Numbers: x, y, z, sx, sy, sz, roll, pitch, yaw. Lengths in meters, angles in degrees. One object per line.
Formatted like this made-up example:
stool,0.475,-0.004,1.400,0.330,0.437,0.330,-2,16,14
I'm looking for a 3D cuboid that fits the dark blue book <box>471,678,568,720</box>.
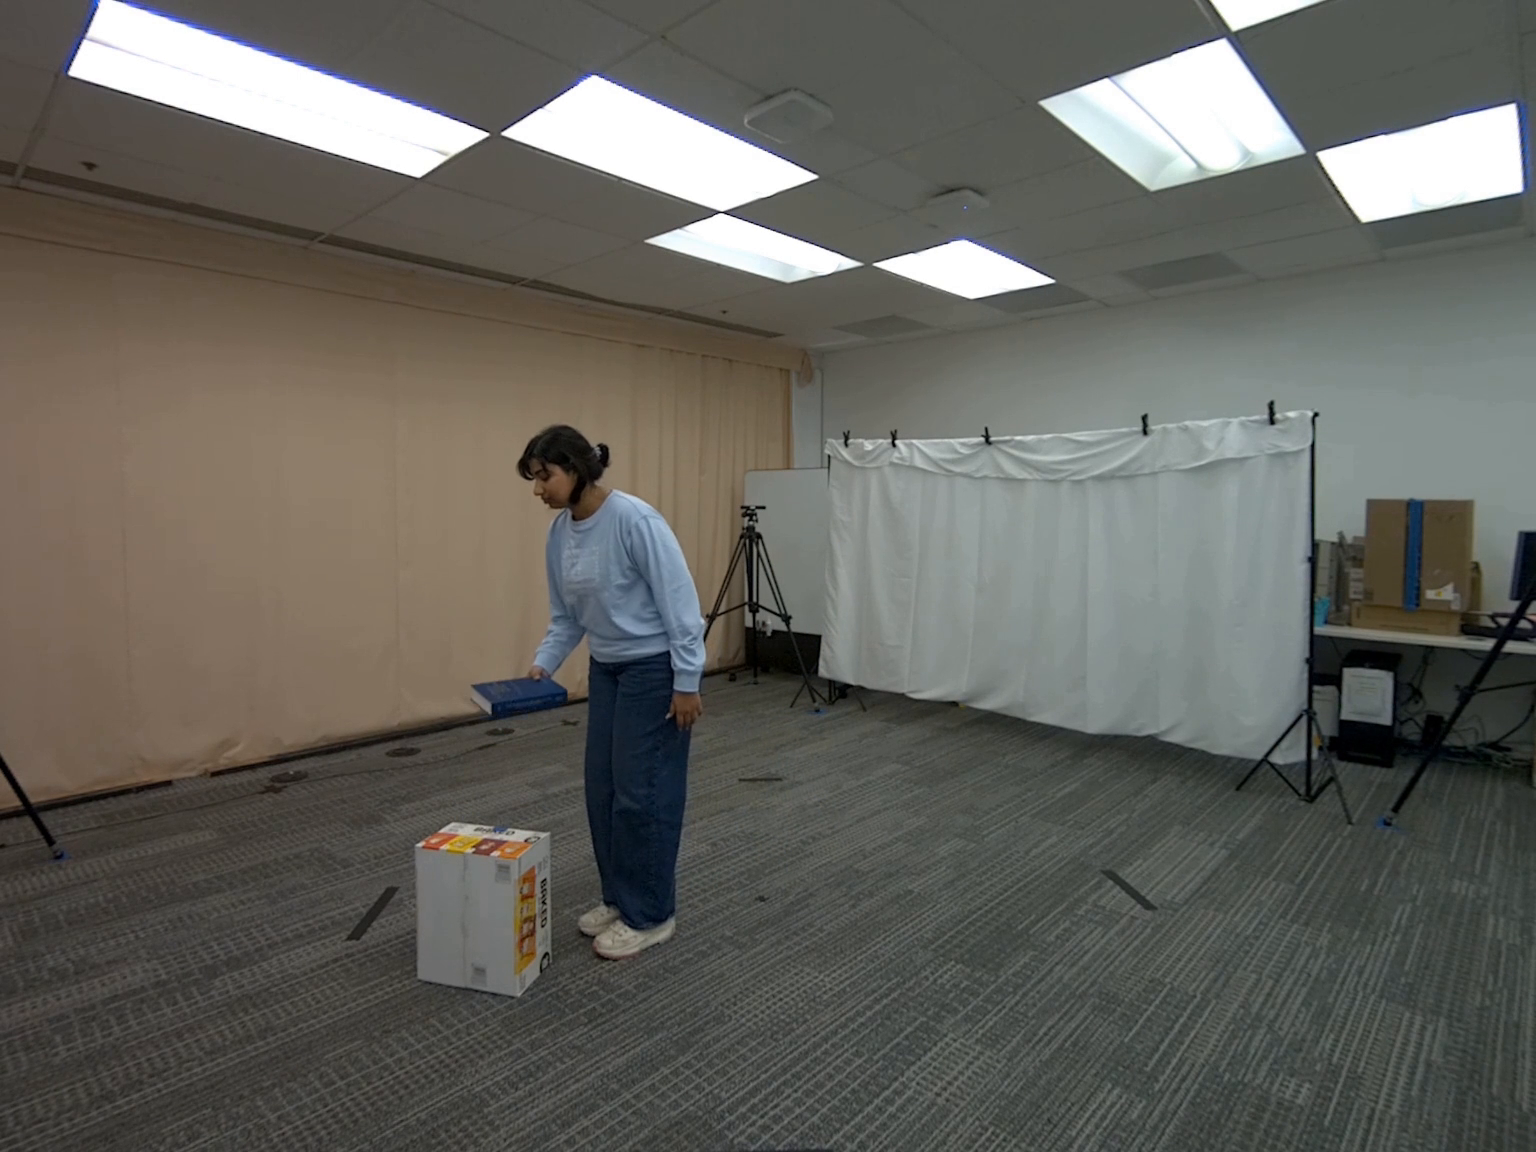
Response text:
dark blue book,-0.747,0.362,2.542,0.238,0.045,0.169,-5,14,-39
